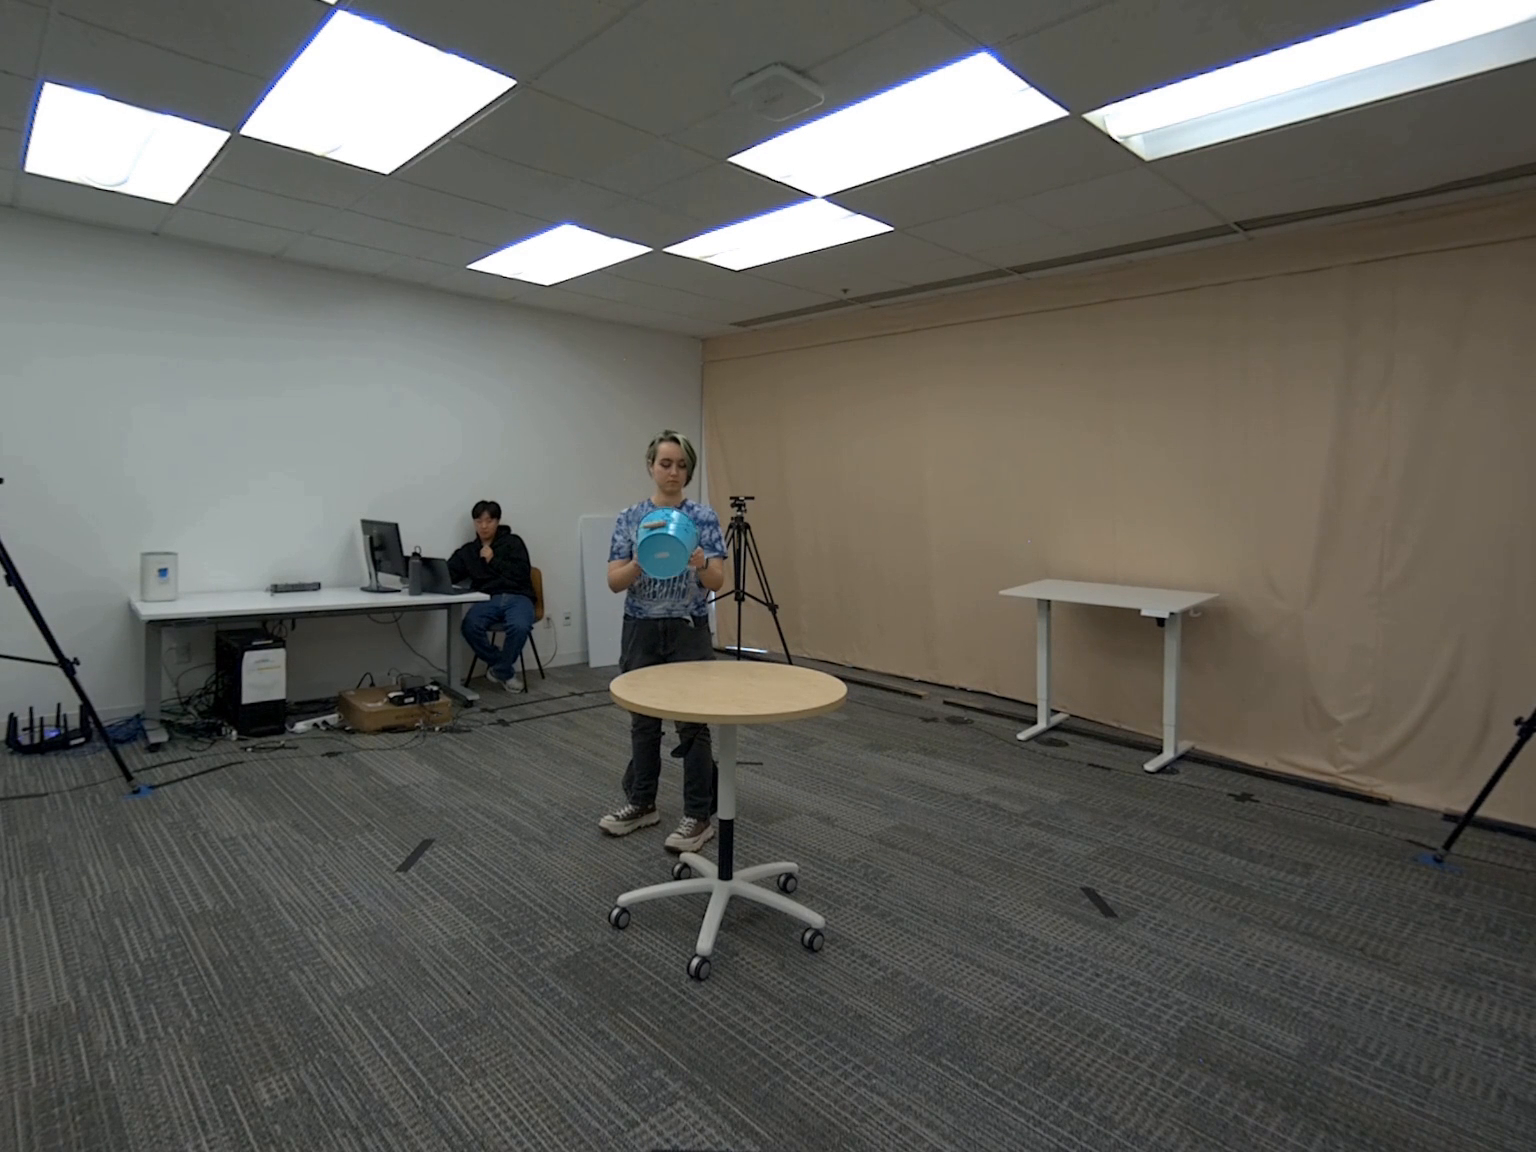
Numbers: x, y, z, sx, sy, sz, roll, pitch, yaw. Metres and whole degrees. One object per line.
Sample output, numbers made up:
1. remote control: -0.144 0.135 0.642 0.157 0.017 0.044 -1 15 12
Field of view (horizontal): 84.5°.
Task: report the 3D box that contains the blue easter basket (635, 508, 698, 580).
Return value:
1. blue easter basket: -0.396 -0.105 2.977 0.243 0.239 0.158 1 25 0
